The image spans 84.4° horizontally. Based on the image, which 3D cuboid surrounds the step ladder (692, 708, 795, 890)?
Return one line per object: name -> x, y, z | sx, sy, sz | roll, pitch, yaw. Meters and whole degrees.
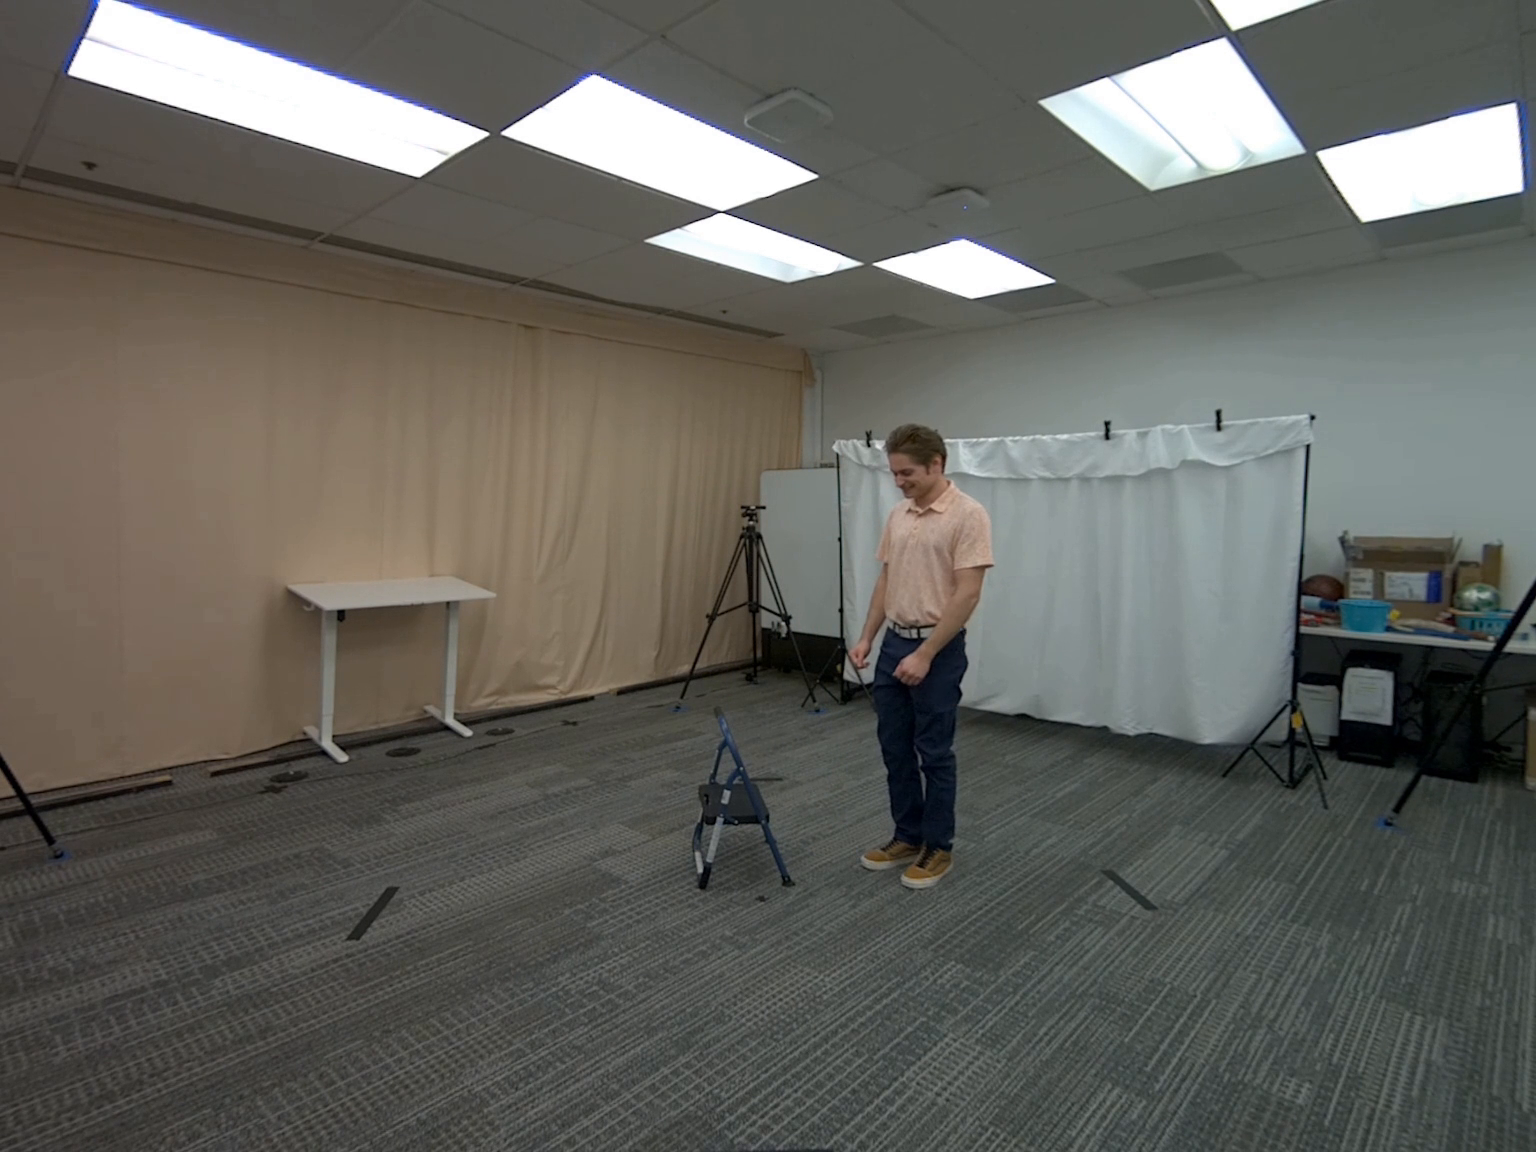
step ladder -> -0.113, 0.820, 3.263 | 0.346, 0.605, 0.435 | -1, 3, -8
